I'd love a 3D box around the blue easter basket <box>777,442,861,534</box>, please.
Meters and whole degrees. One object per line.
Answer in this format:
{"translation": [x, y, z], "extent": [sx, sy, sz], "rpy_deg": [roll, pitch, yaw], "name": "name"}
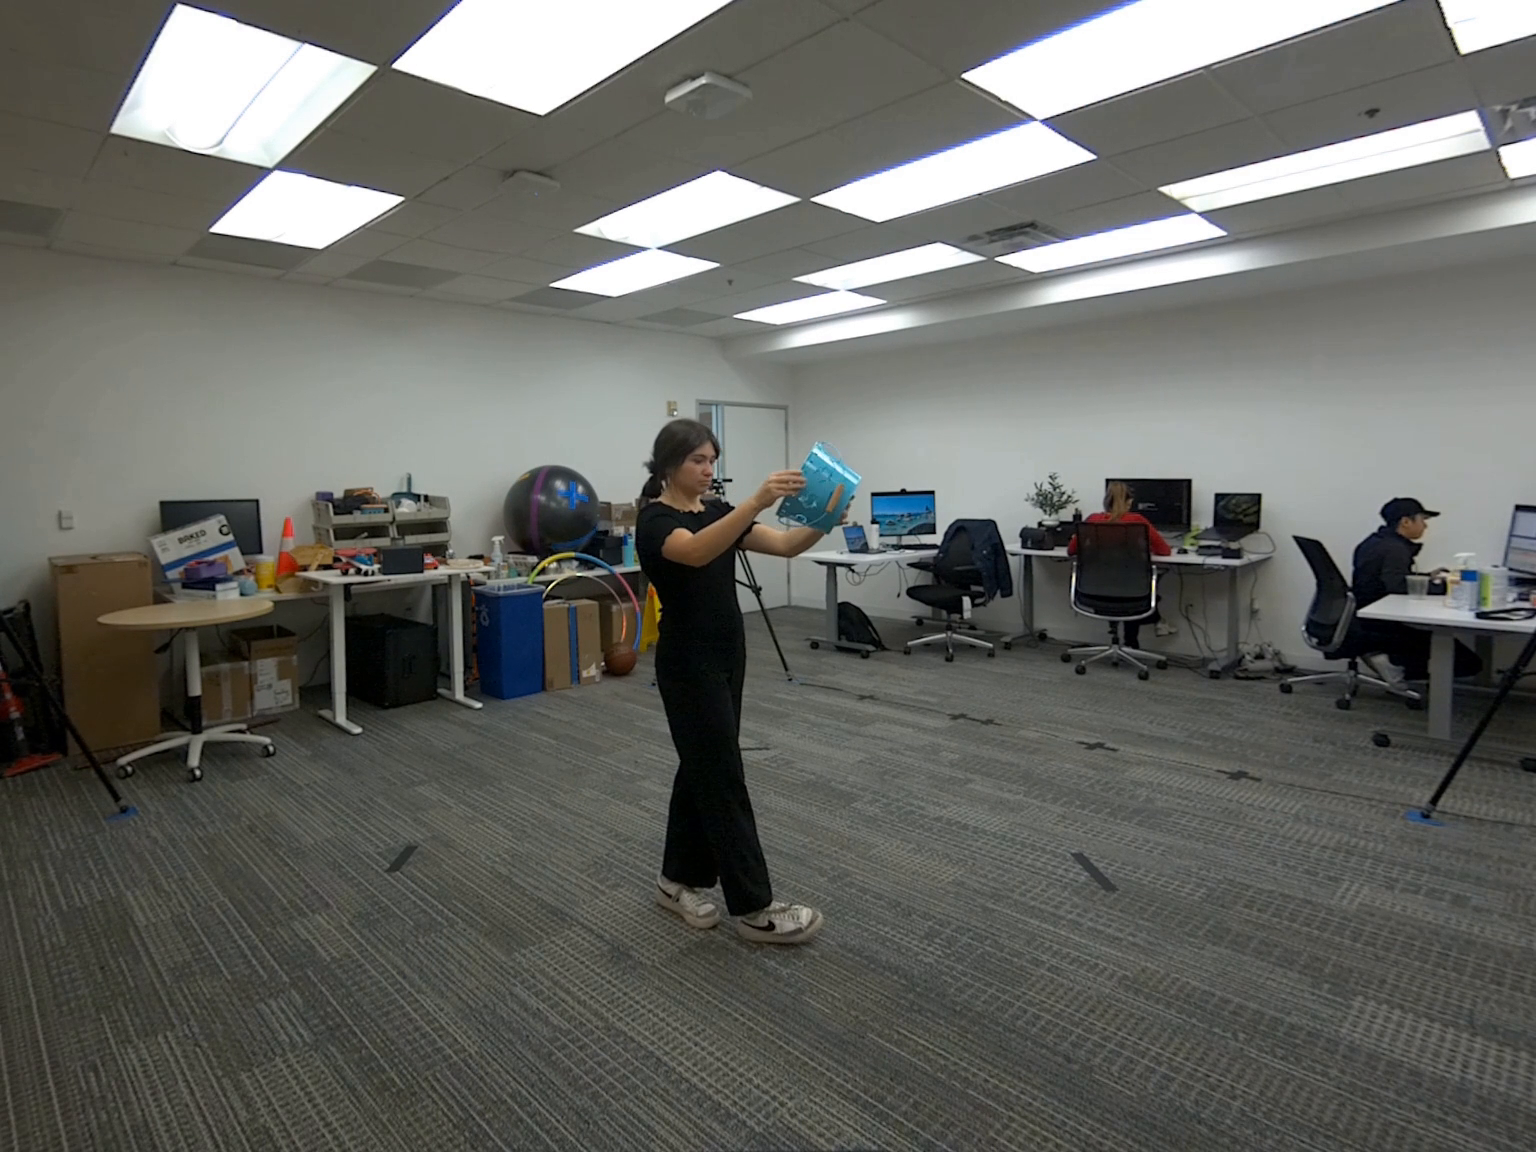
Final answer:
{"translation": [0.148, -0.224, 2.314], "extent": [0.156, 0.243, 0.243], "rpy_deg": [30, 7, 1], "name": "blue easter basket"}
